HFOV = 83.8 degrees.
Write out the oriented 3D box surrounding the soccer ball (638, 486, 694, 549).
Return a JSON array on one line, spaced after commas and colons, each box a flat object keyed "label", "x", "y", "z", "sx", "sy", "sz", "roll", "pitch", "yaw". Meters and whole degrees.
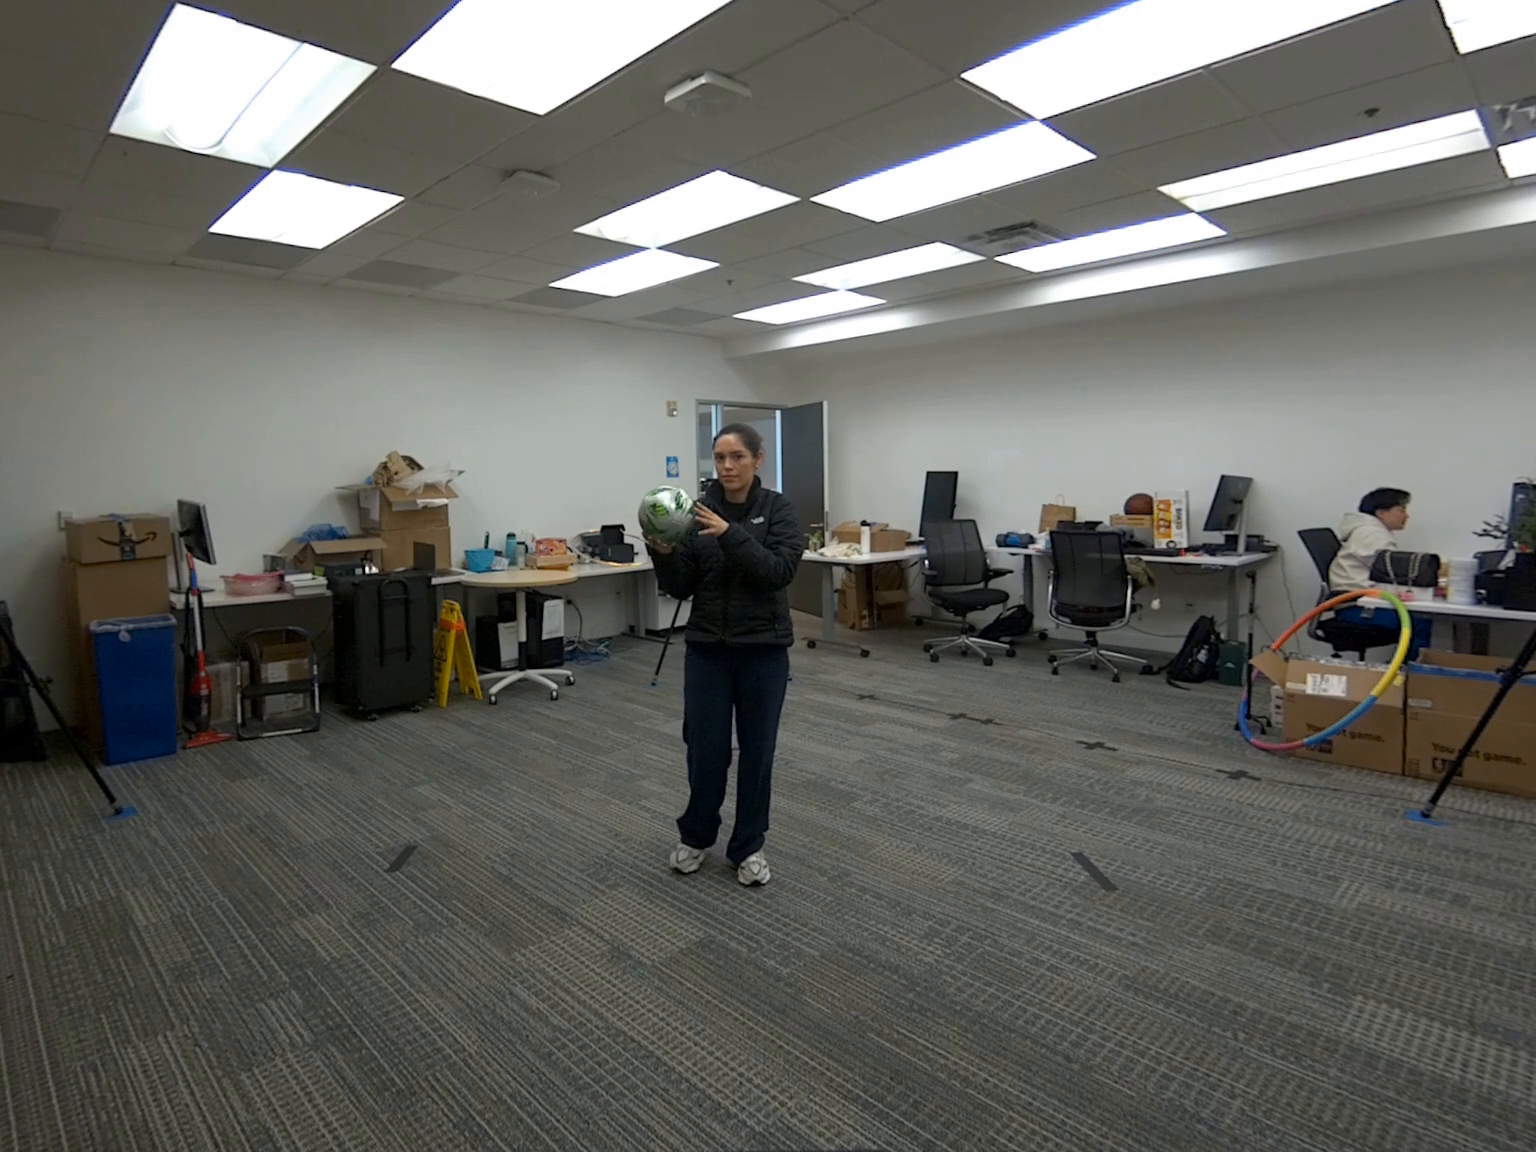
[{"label": "soccer ball", "x": -0.310, "y": -0.199, "z": 2.749, "sx": 0.187, "sy": 0.187, "sz": 0.188, "roll": -1, "pitch": 5, "yaw": -2}]
